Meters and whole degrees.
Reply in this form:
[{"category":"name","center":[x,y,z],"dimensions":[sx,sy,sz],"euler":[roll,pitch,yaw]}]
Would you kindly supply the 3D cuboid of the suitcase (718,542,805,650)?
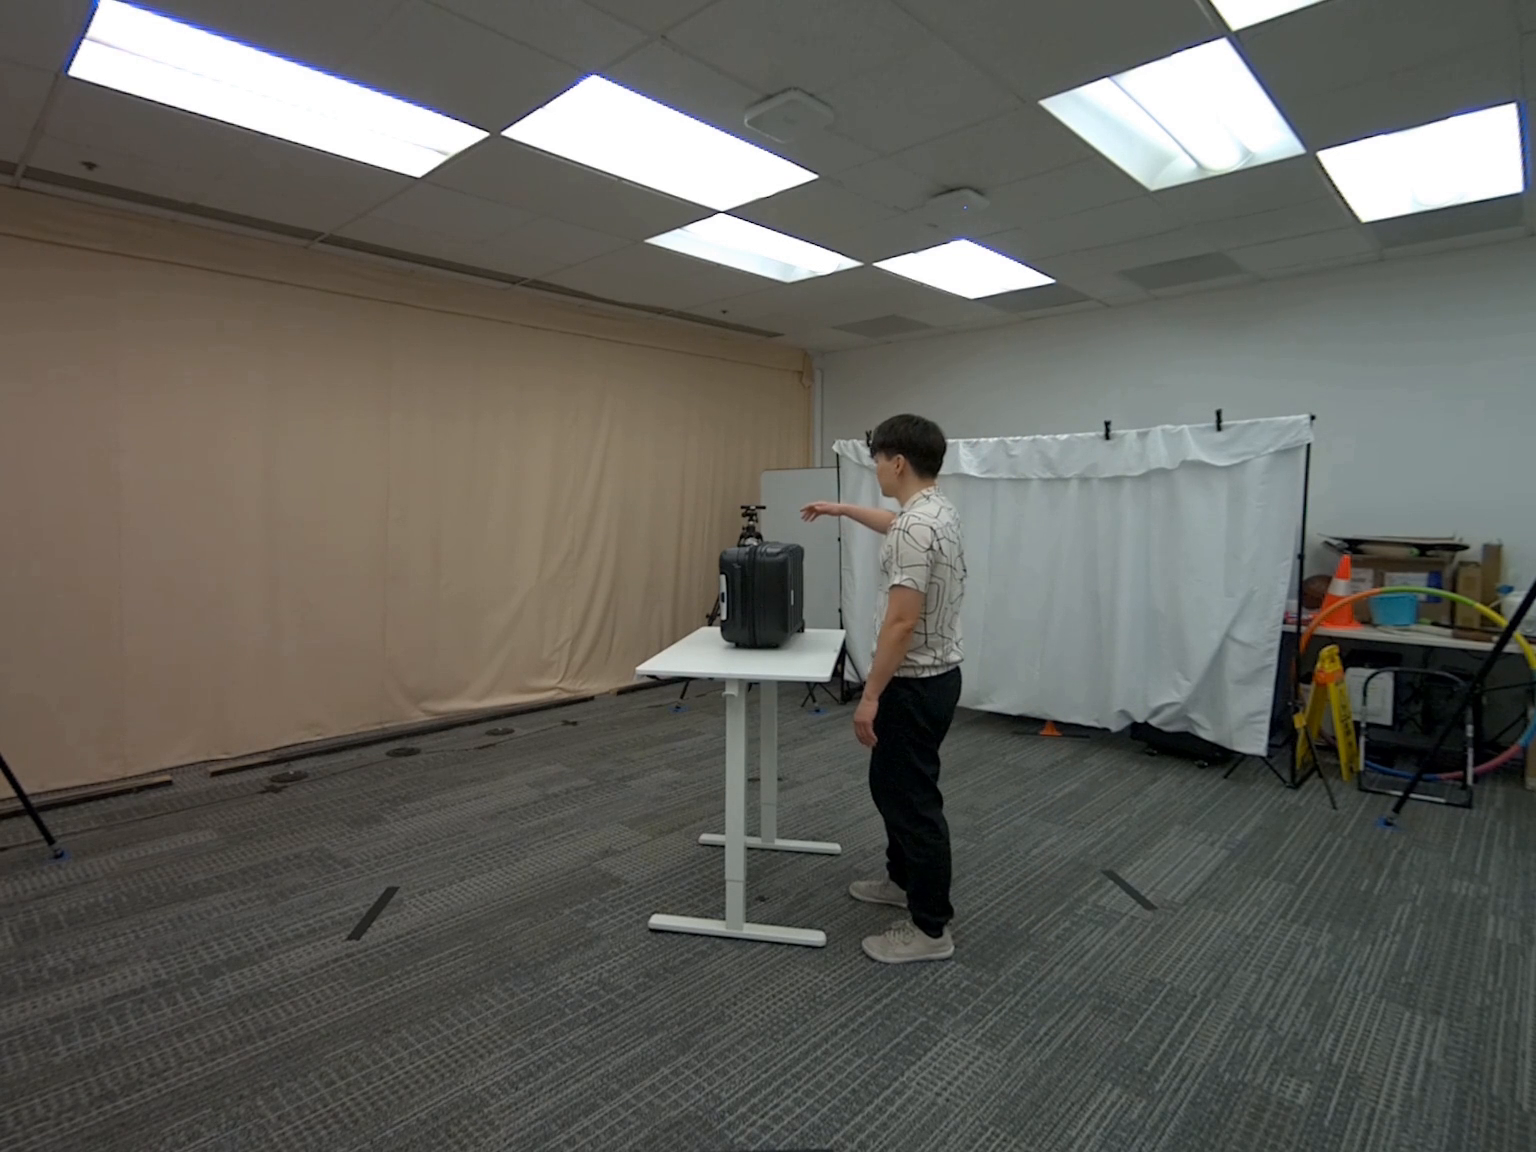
[{"category":"suitcase","center":[-0.014,0.053,3.175],"dimensions":[0.251,0.375,0.543],"euler":[1,3,10]}]
